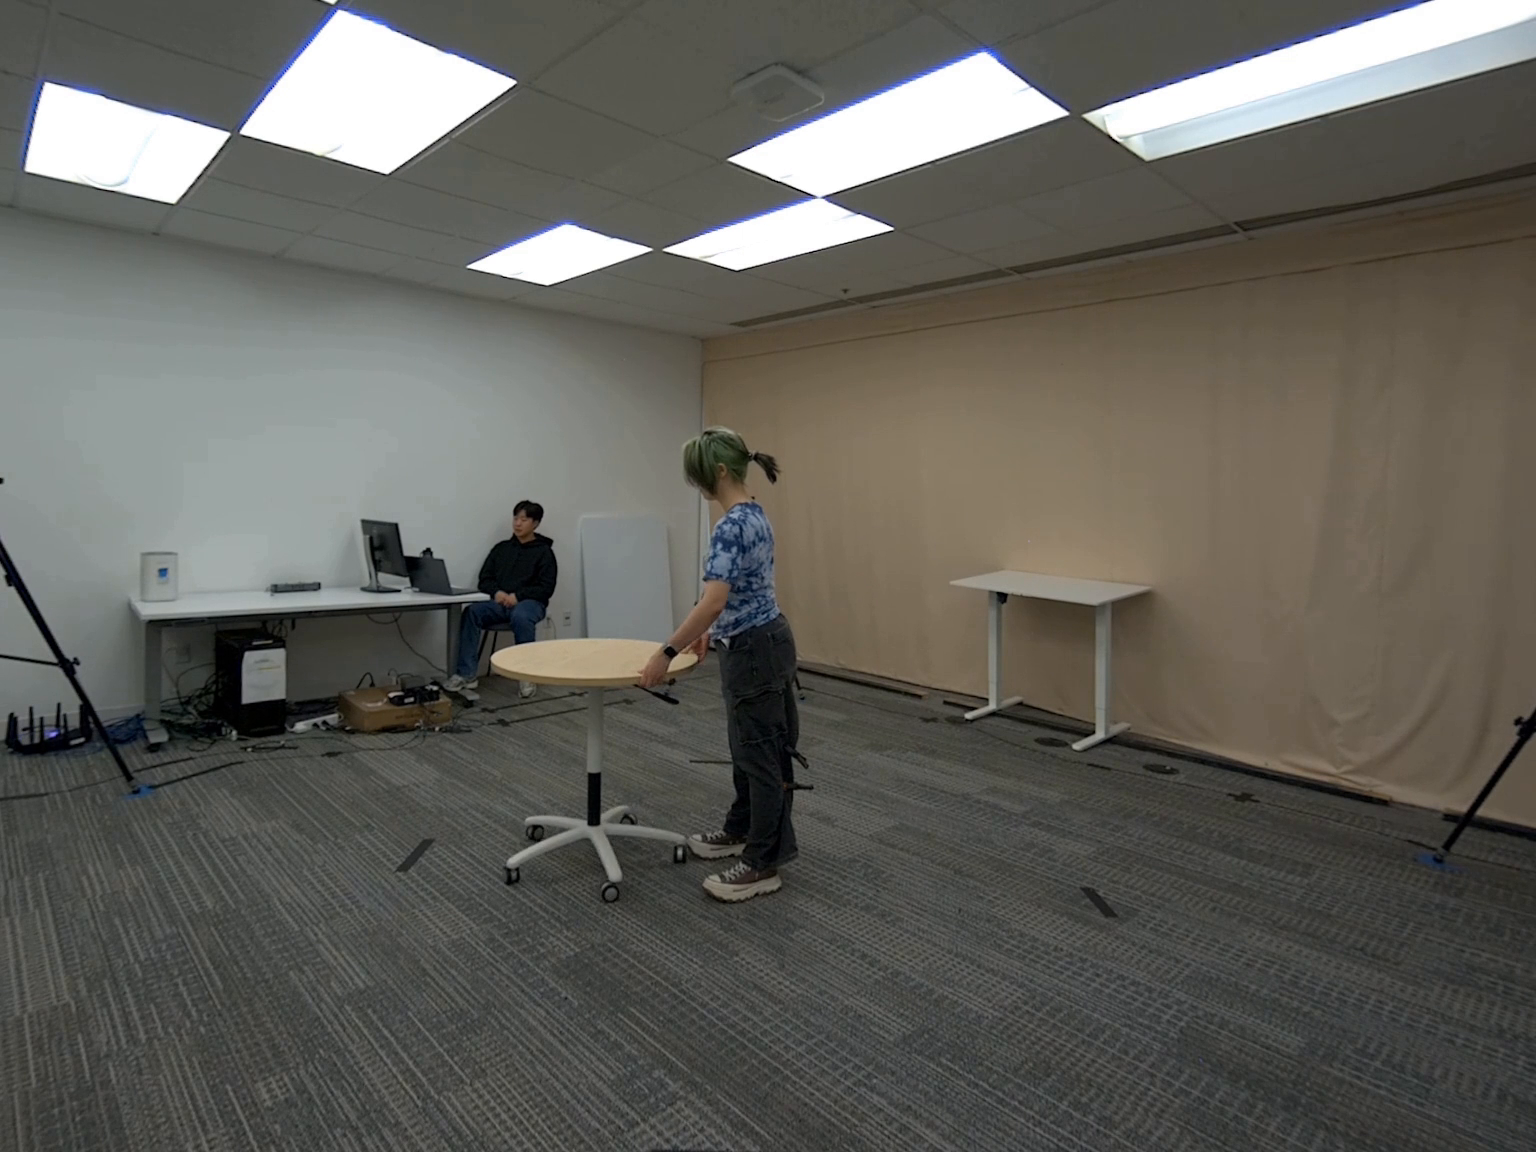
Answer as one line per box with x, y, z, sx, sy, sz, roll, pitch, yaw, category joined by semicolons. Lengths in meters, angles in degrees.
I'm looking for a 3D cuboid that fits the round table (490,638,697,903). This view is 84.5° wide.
-0.658;0.695;3.185;0.763;0.792;0.767;1;4;-1;round table
